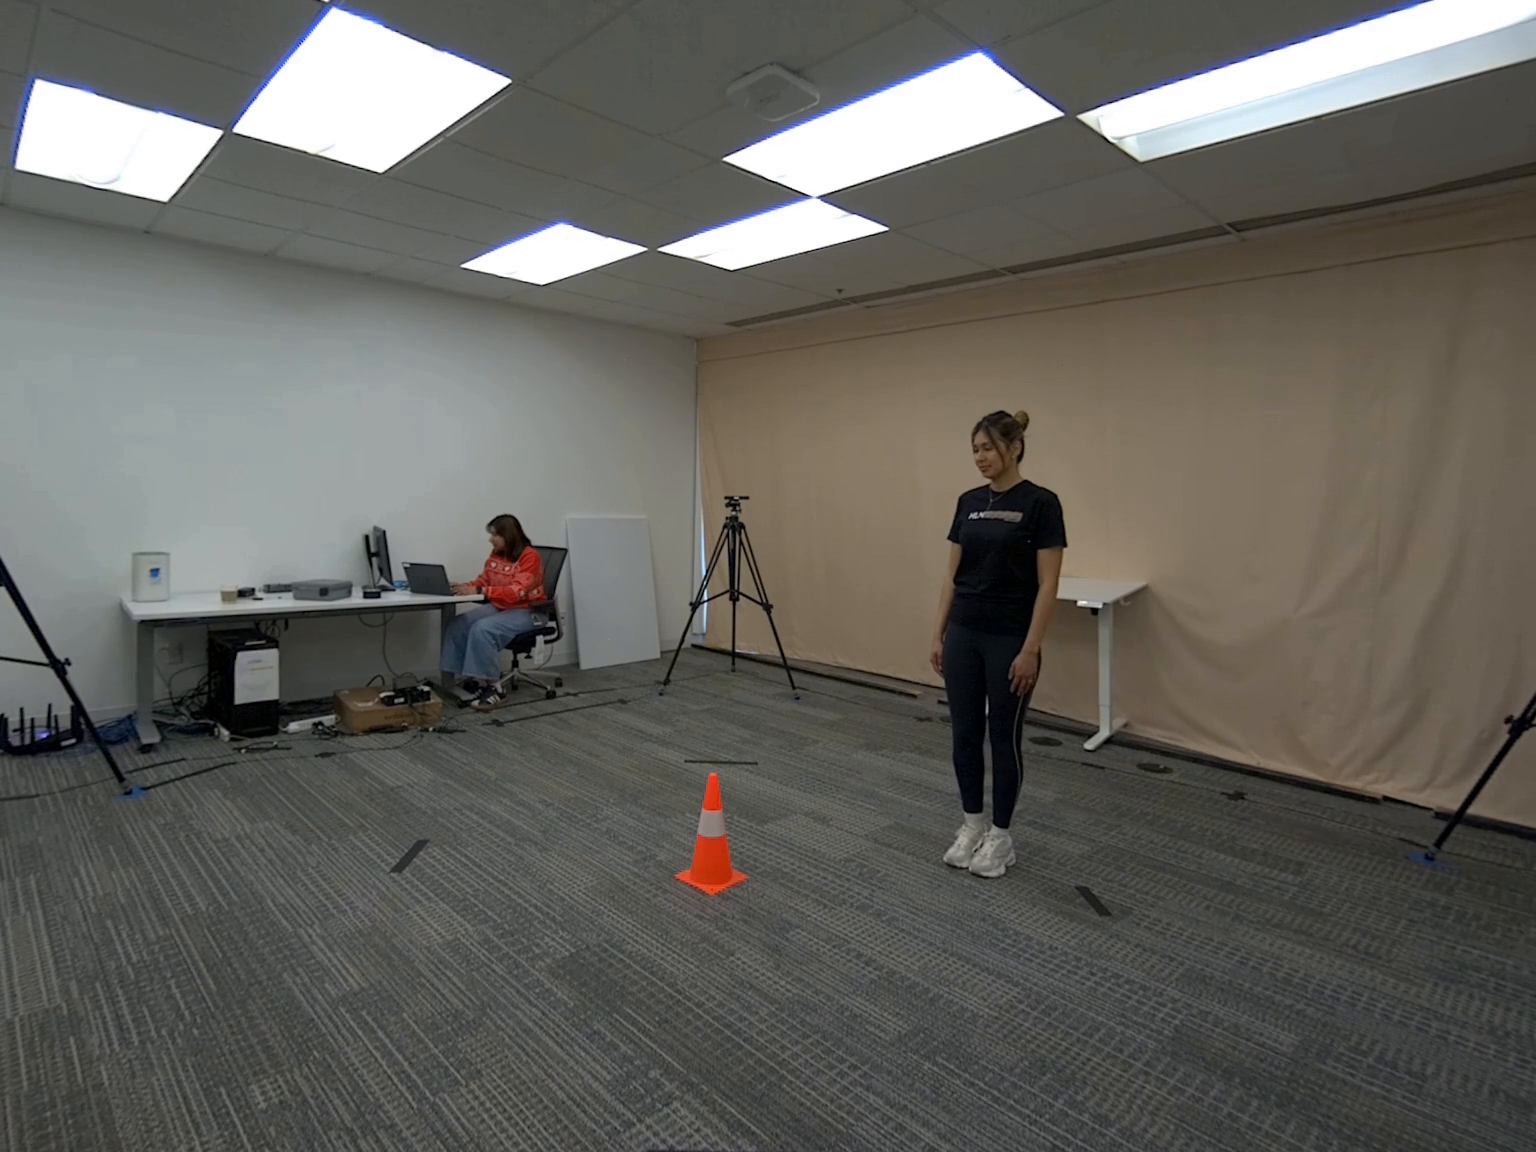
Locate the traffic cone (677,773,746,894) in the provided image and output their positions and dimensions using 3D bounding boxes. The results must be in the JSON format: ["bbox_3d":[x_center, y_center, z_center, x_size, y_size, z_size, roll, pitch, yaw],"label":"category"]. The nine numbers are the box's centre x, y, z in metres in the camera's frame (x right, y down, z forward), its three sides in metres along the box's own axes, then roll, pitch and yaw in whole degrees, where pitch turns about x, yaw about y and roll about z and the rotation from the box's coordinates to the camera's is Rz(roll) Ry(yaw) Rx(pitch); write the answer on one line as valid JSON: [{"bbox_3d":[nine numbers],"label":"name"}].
[{"bbox_3d":[-0.213,0.922,3.083,0.210,0.383,0.198,3,3,41],"label":"traffic cone"}]
